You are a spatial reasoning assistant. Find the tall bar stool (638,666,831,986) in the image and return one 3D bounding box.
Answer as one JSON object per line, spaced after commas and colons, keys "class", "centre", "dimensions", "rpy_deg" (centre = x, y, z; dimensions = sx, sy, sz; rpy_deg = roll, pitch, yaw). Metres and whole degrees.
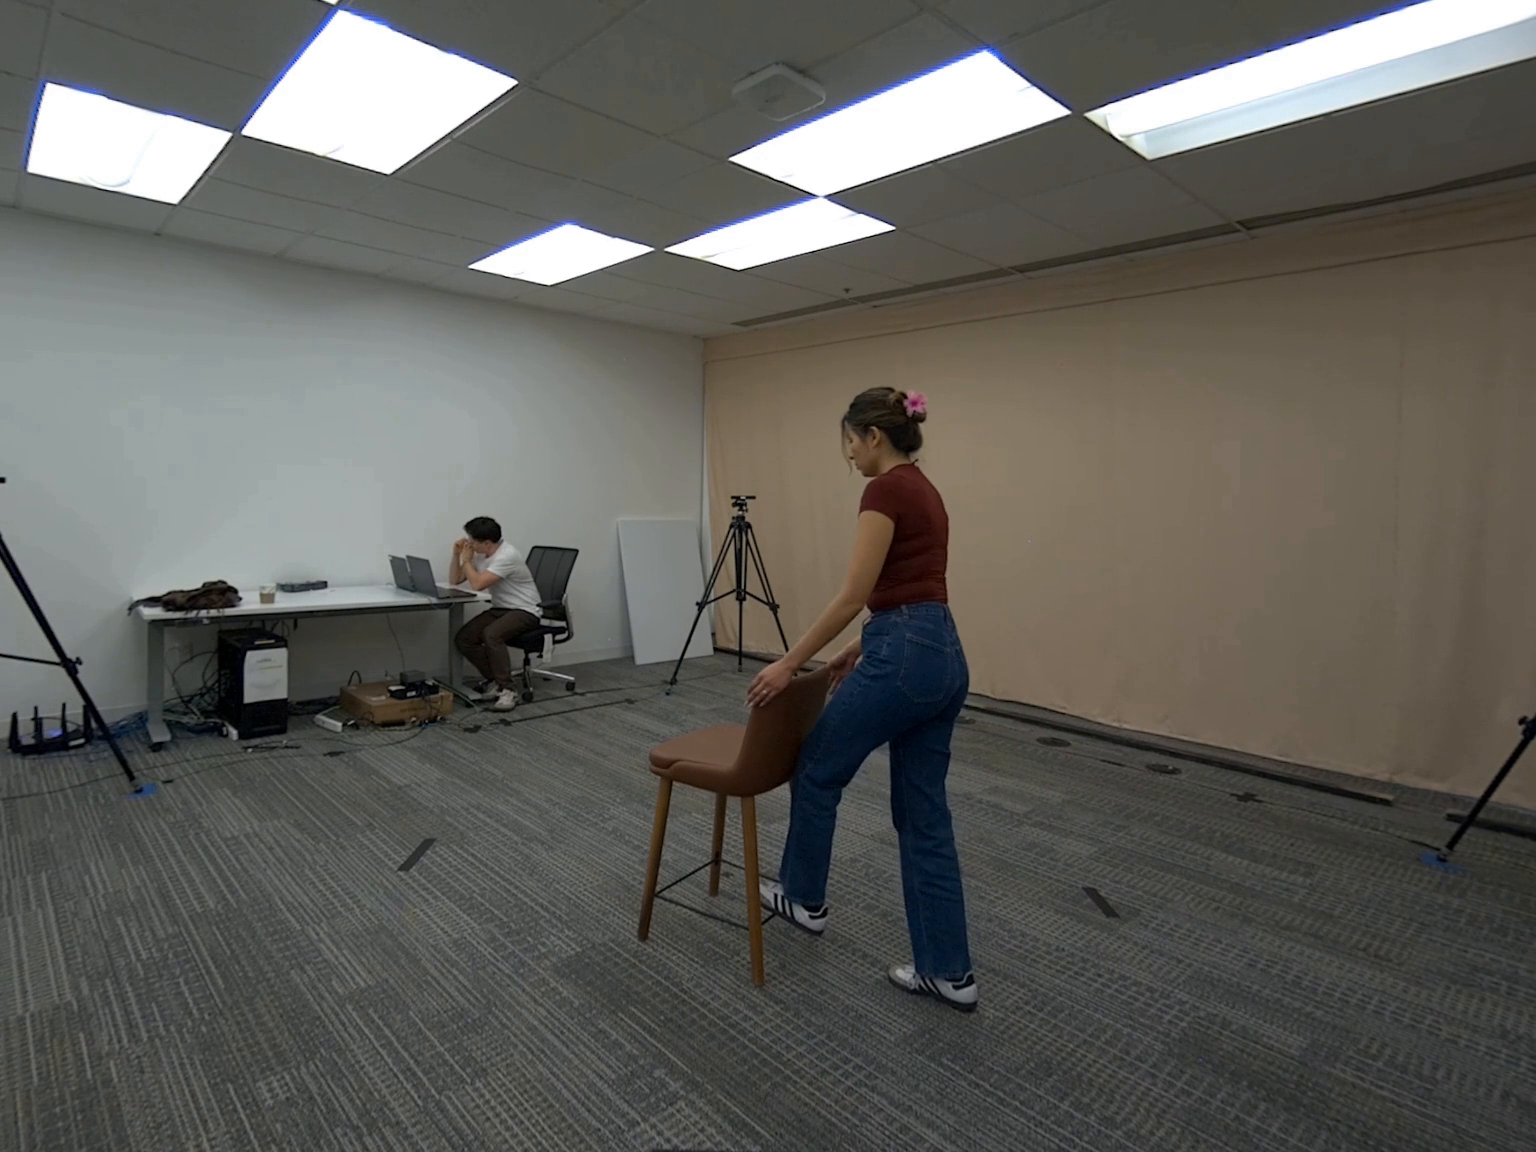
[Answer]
{"class": "tall bar stool", "centre": [-0.101, 0.708, 2.643], "dimensions": [0.479, 0.887, 0.447], "rpy_deg": [6, 6, 34]}
